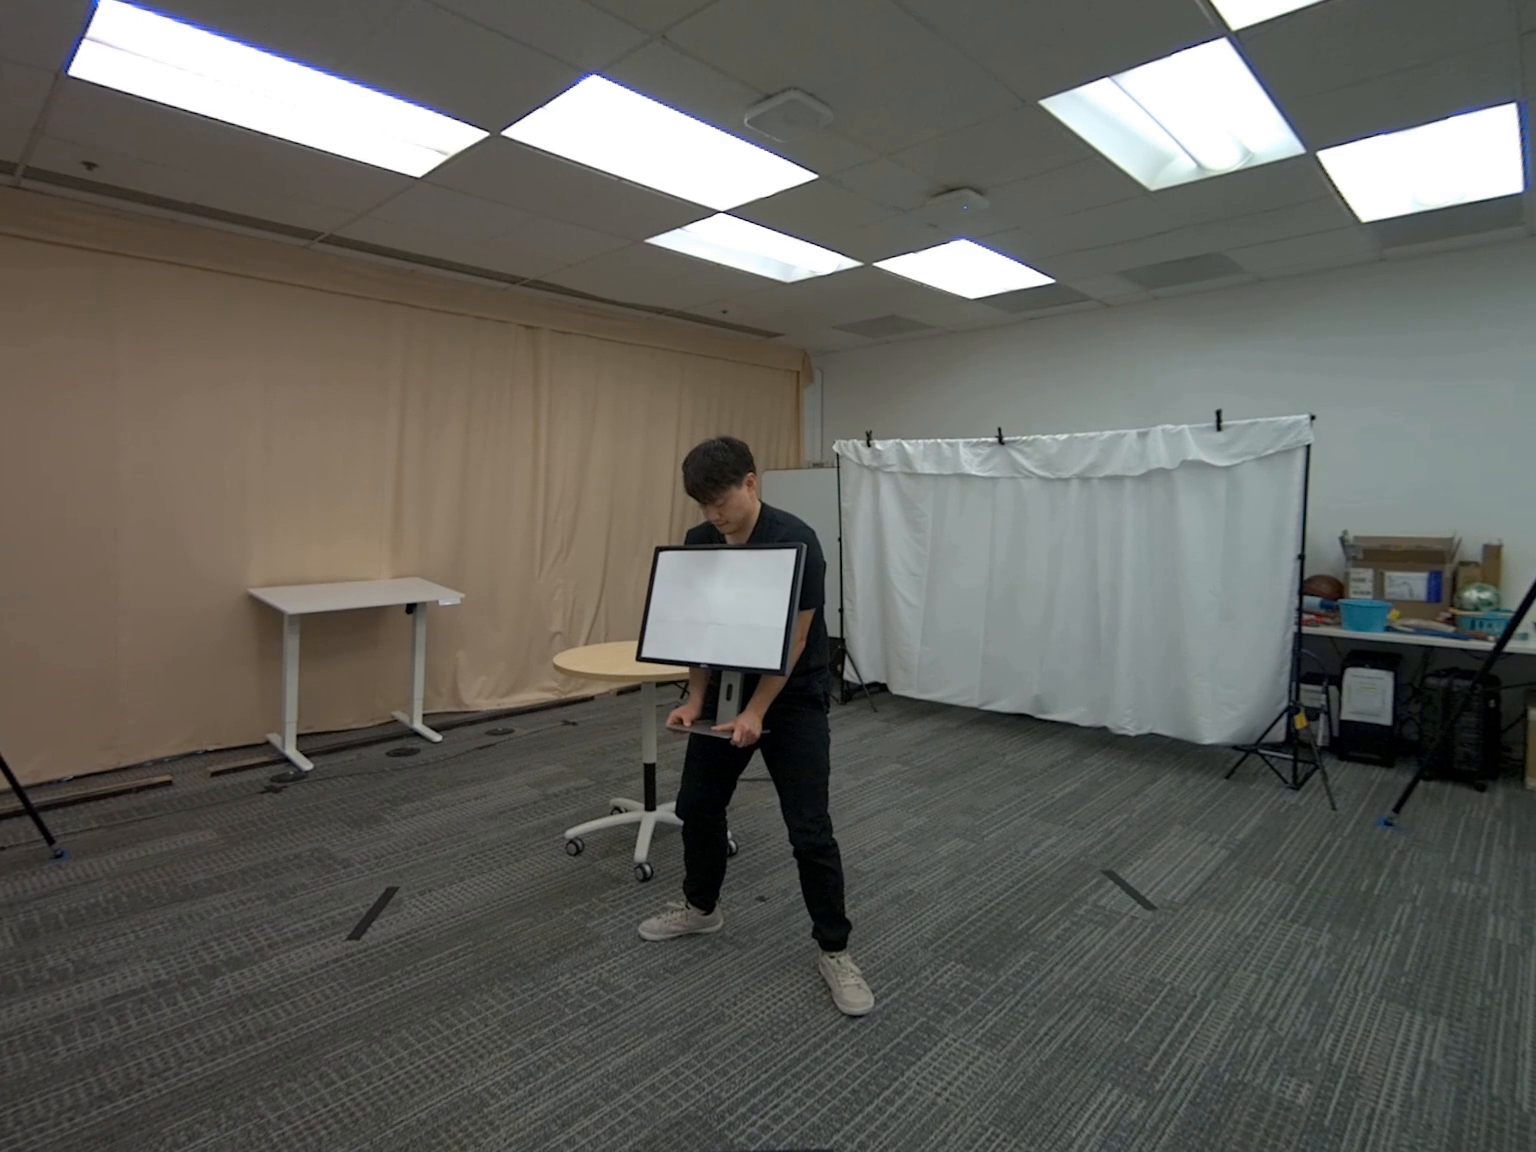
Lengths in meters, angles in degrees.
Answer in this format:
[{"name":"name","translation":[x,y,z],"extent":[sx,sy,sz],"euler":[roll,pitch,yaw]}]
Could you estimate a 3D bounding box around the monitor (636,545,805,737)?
[{"name":"monitor","translation":[-0.140,0.184,2.449],"extent":[0.556,0.523,0.181],"euler":[0,-3,38]}]
